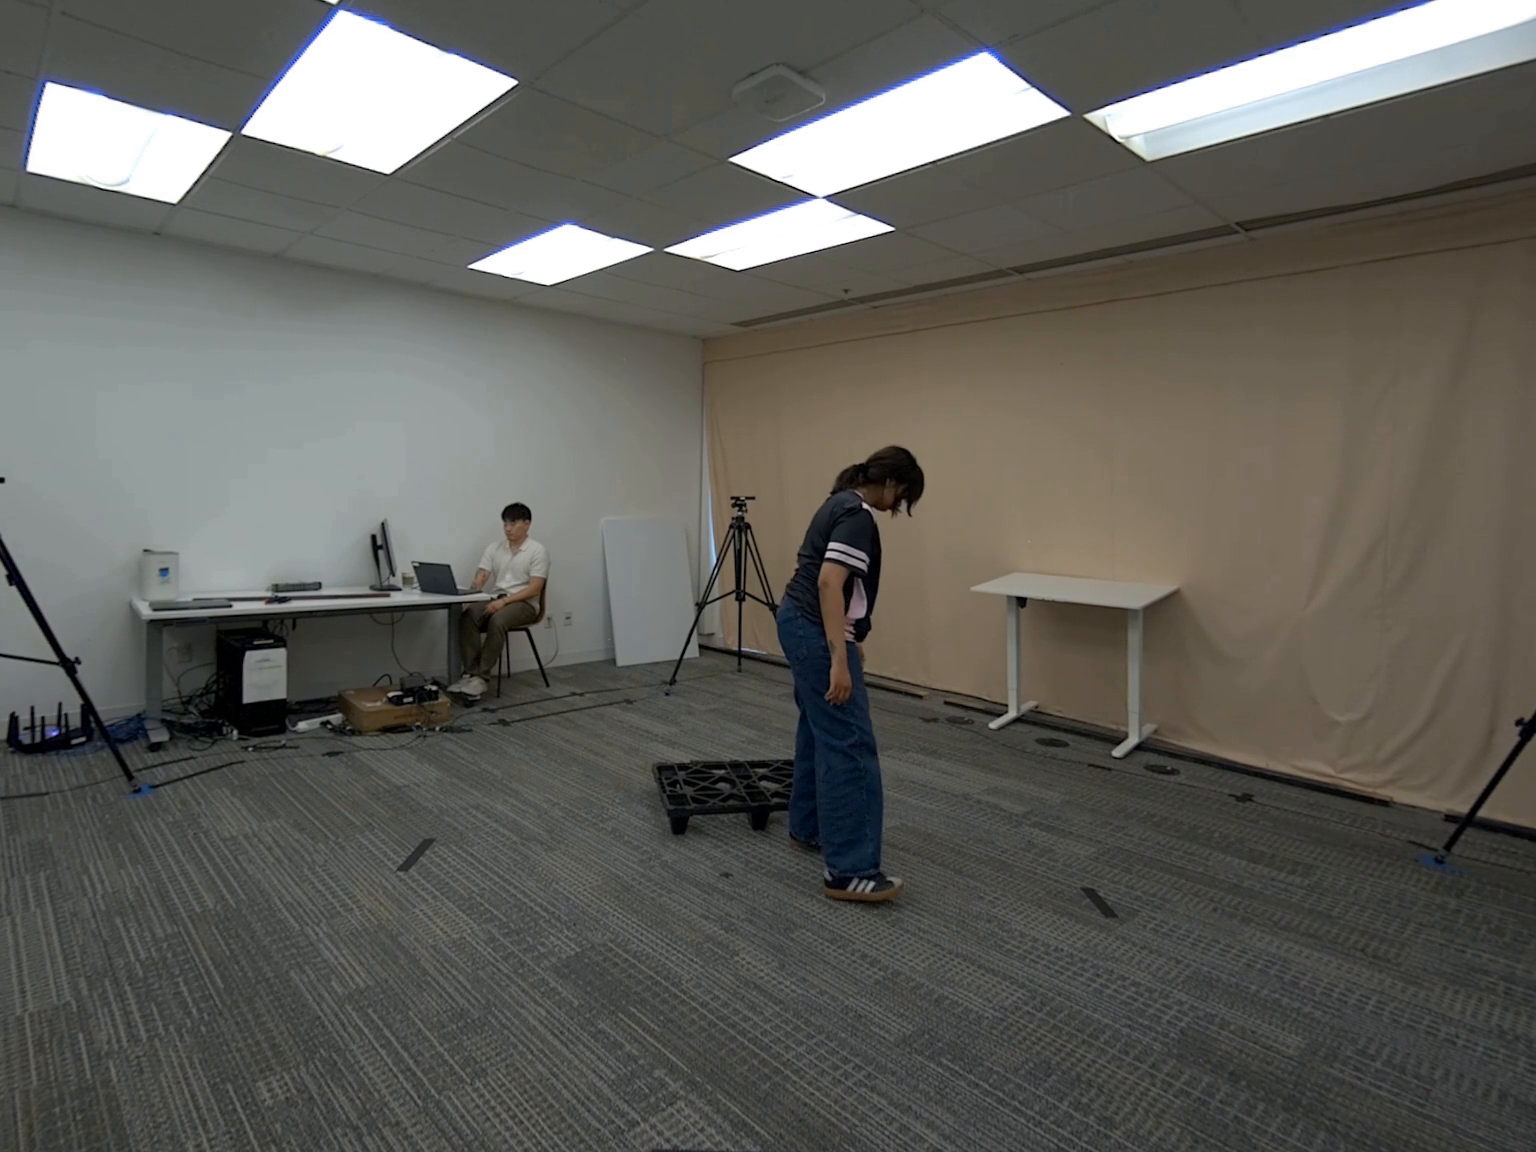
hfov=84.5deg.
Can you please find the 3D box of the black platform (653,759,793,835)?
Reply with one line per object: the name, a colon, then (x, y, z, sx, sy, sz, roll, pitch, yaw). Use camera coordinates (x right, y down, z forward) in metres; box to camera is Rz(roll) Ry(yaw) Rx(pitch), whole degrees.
black platform: (-0.096, 0.983, 3.767, 0.798, 0.143, 0.613, 0, 6, -13)
